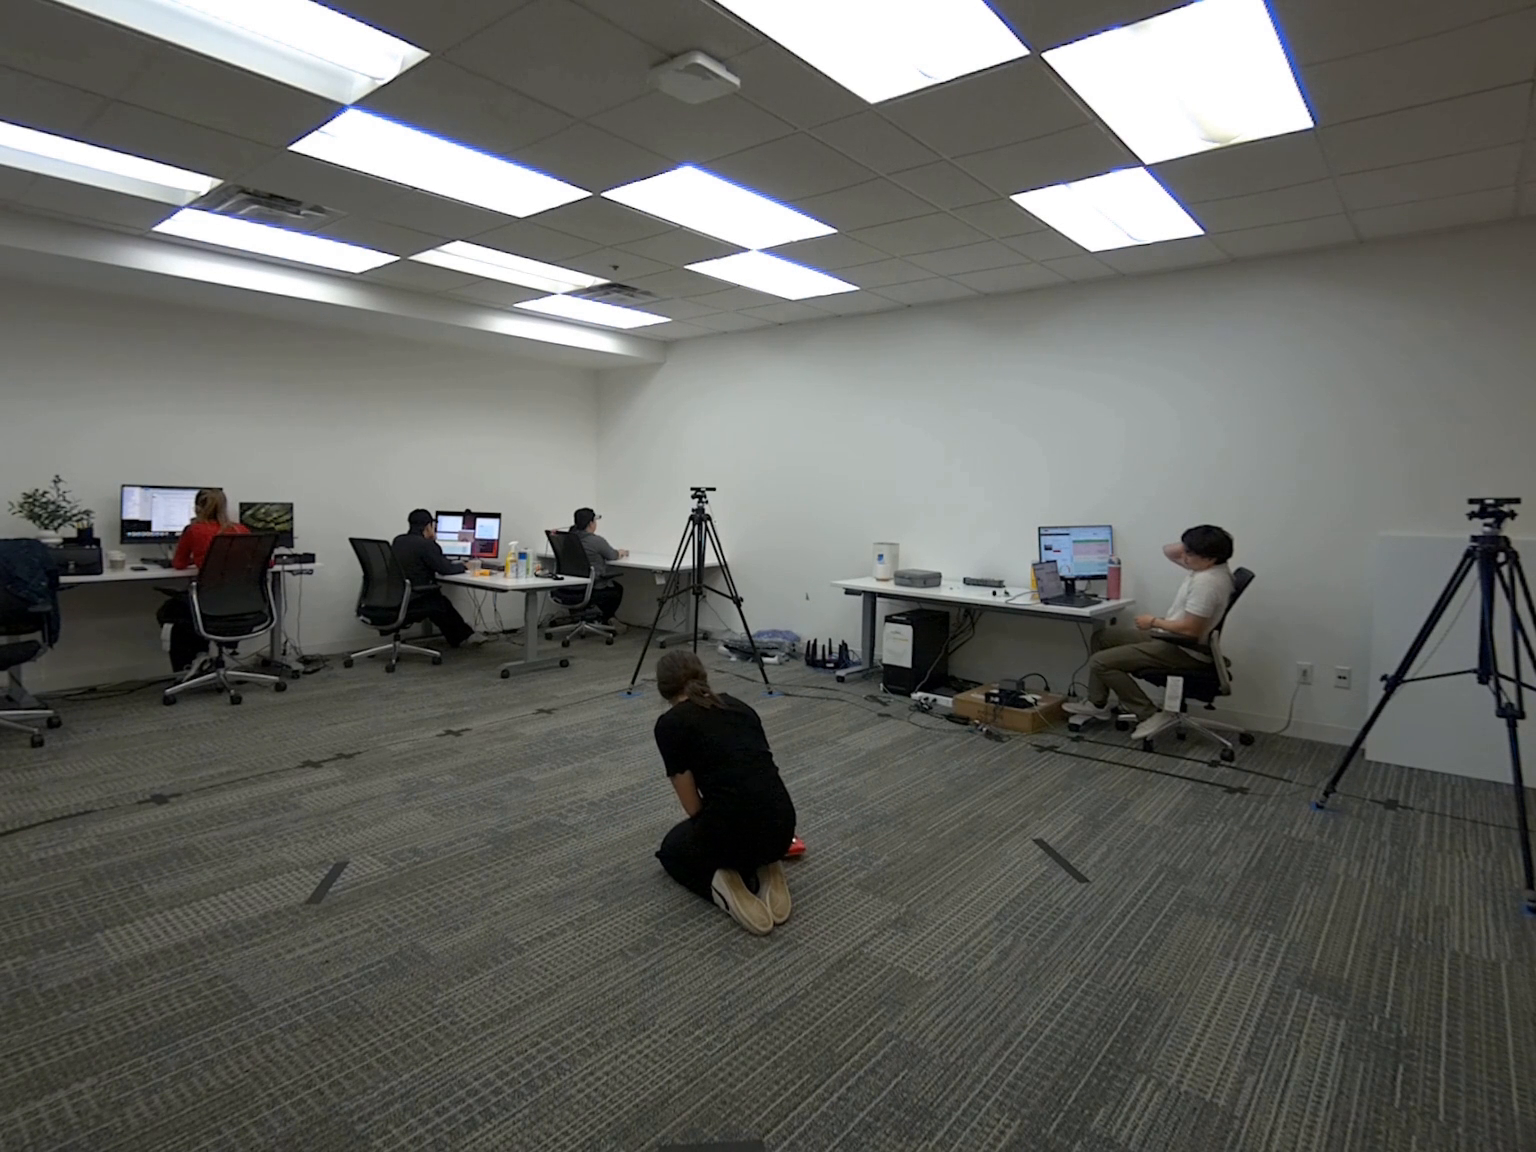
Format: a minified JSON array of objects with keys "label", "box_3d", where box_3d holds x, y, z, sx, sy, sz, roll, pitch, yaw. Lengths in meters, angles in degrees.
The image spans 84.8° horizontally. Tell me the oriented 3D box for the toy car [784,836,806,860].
[{"label":"toy car","box_3d":[0.046,1.019,3.279,0.127,0.084,0.258,0,-6,-22]}]
